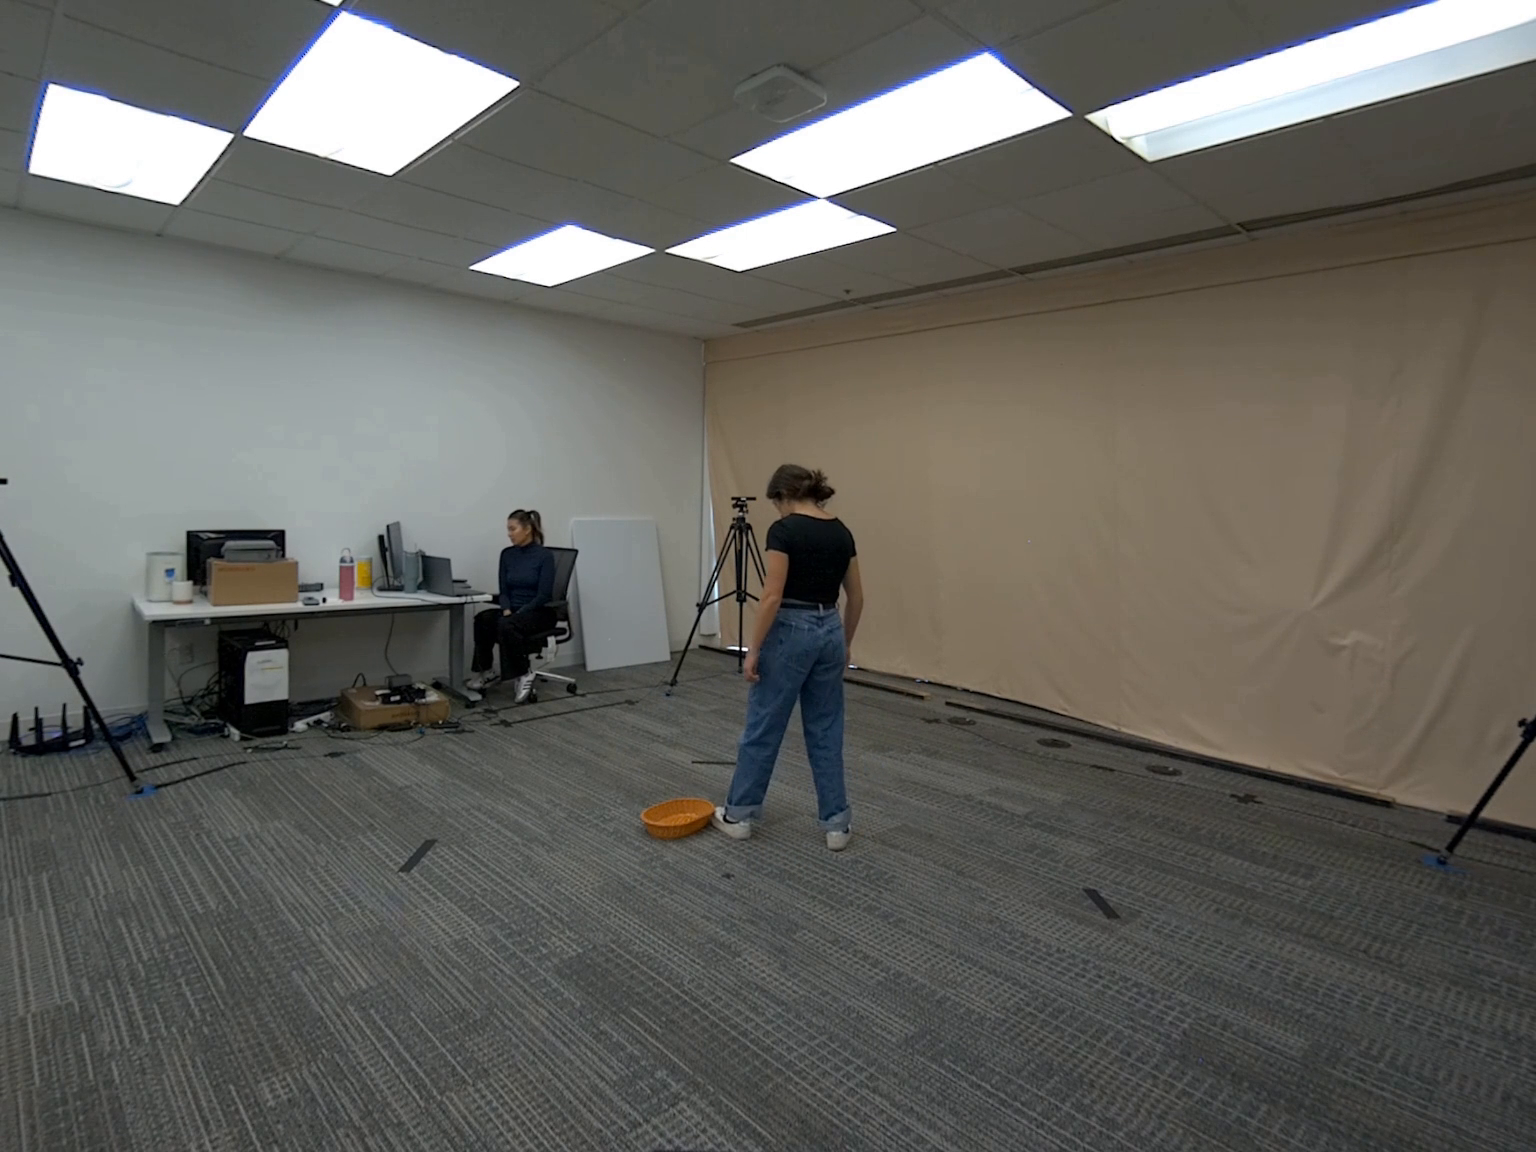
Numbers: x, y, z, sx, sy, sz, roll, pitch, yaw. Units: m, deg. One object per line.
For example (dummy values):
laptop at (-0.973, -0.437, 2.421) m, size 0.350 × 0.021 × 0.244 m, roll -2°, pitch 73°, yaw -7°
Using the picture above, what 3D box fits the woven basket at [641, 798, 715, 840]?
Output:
woven basket at (-0.388, 1.017, 3.550) m, size 0.259 × 0.073 × 0.343 m, roll 4°, pitch 7°, yaw 40°
